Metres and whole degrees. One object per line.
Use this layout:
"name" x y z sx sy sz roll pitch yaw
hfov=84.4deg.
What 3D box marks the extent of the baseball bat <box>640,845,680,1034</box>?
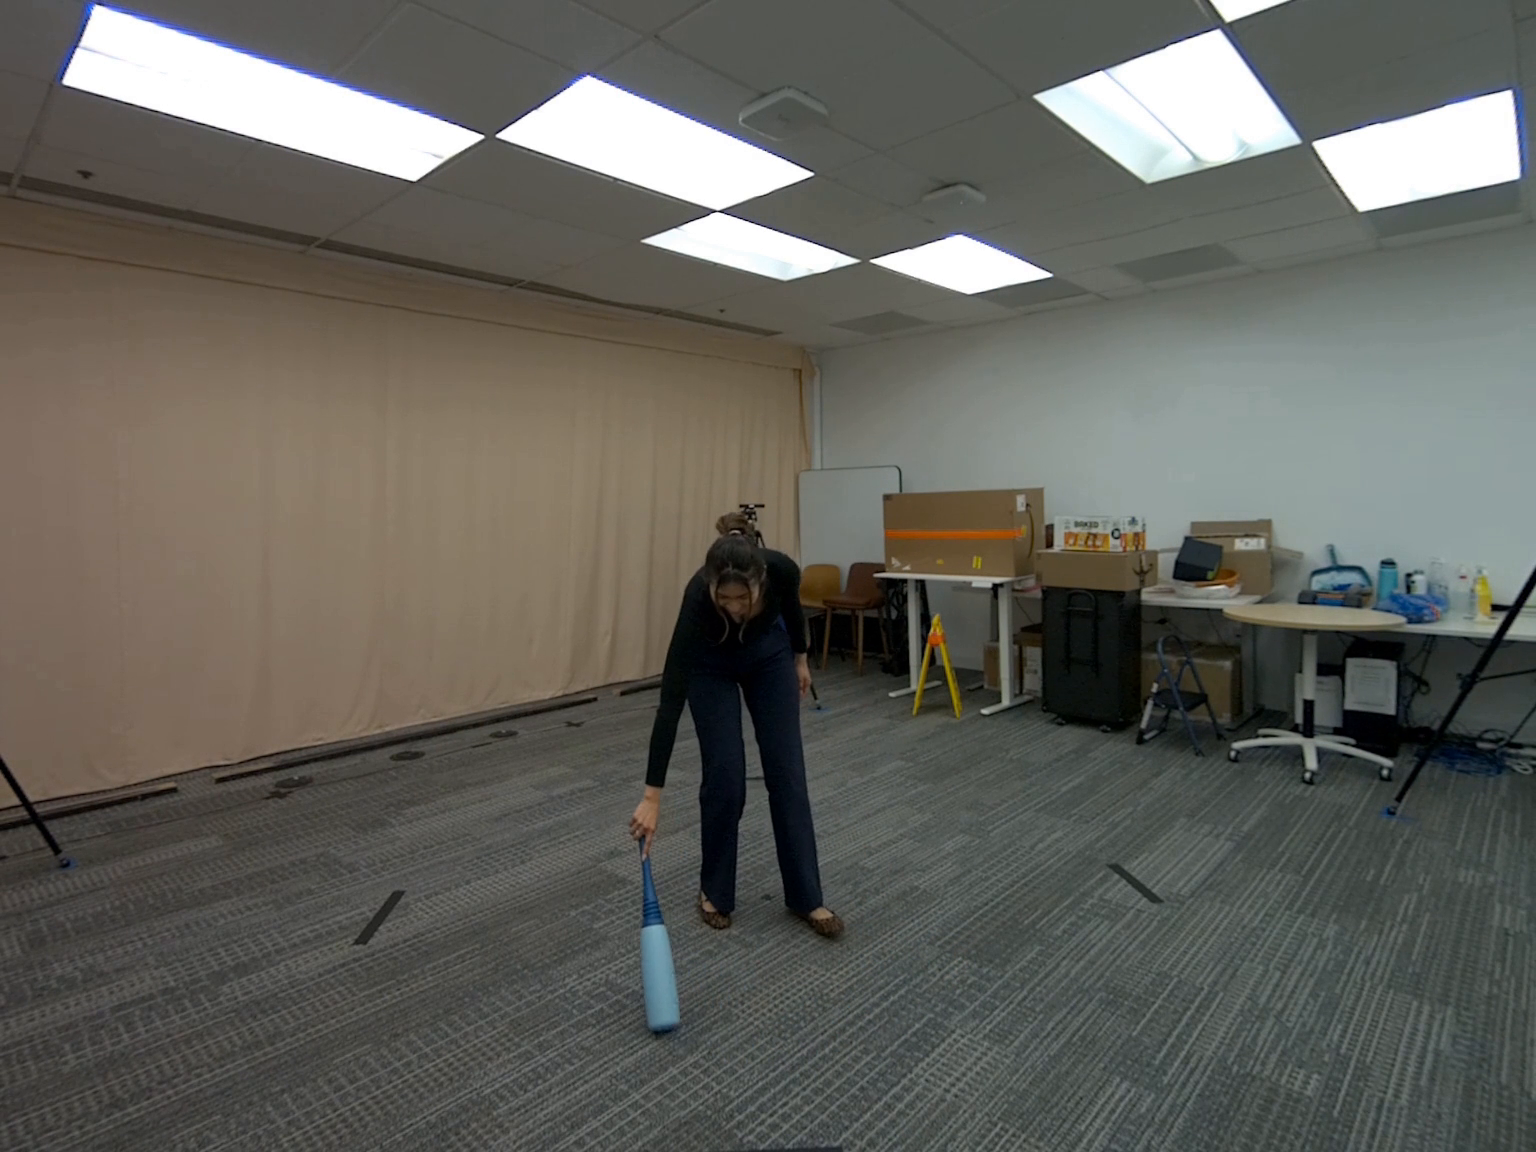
"baseball bat" -0.320 0.967 2.358 0.088 0.555 0.087 -8 -32 -7
